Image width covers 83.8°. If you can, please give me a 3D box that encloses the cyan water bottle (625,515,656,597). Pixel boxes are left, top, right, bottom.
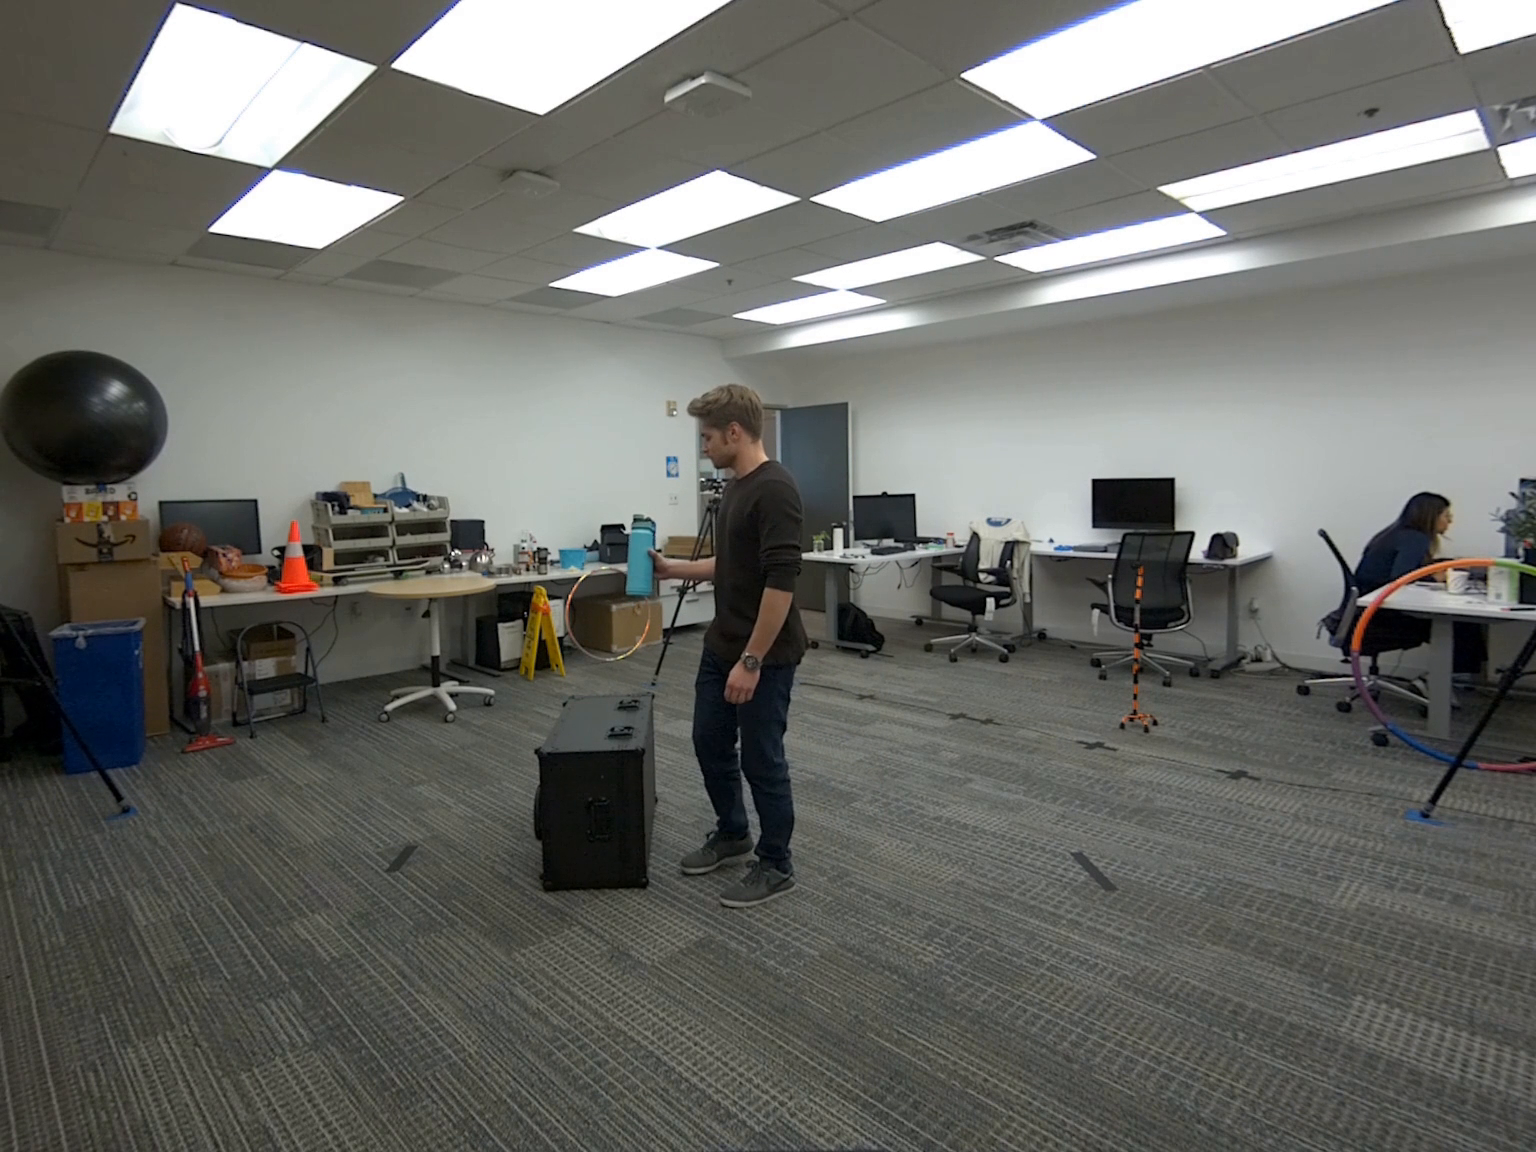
[{"bbox_3d":[-0.440,-0.075,2.990,0.092,0.285,0.092,2,-8,-1],"label":"cyan water bottle"}]
